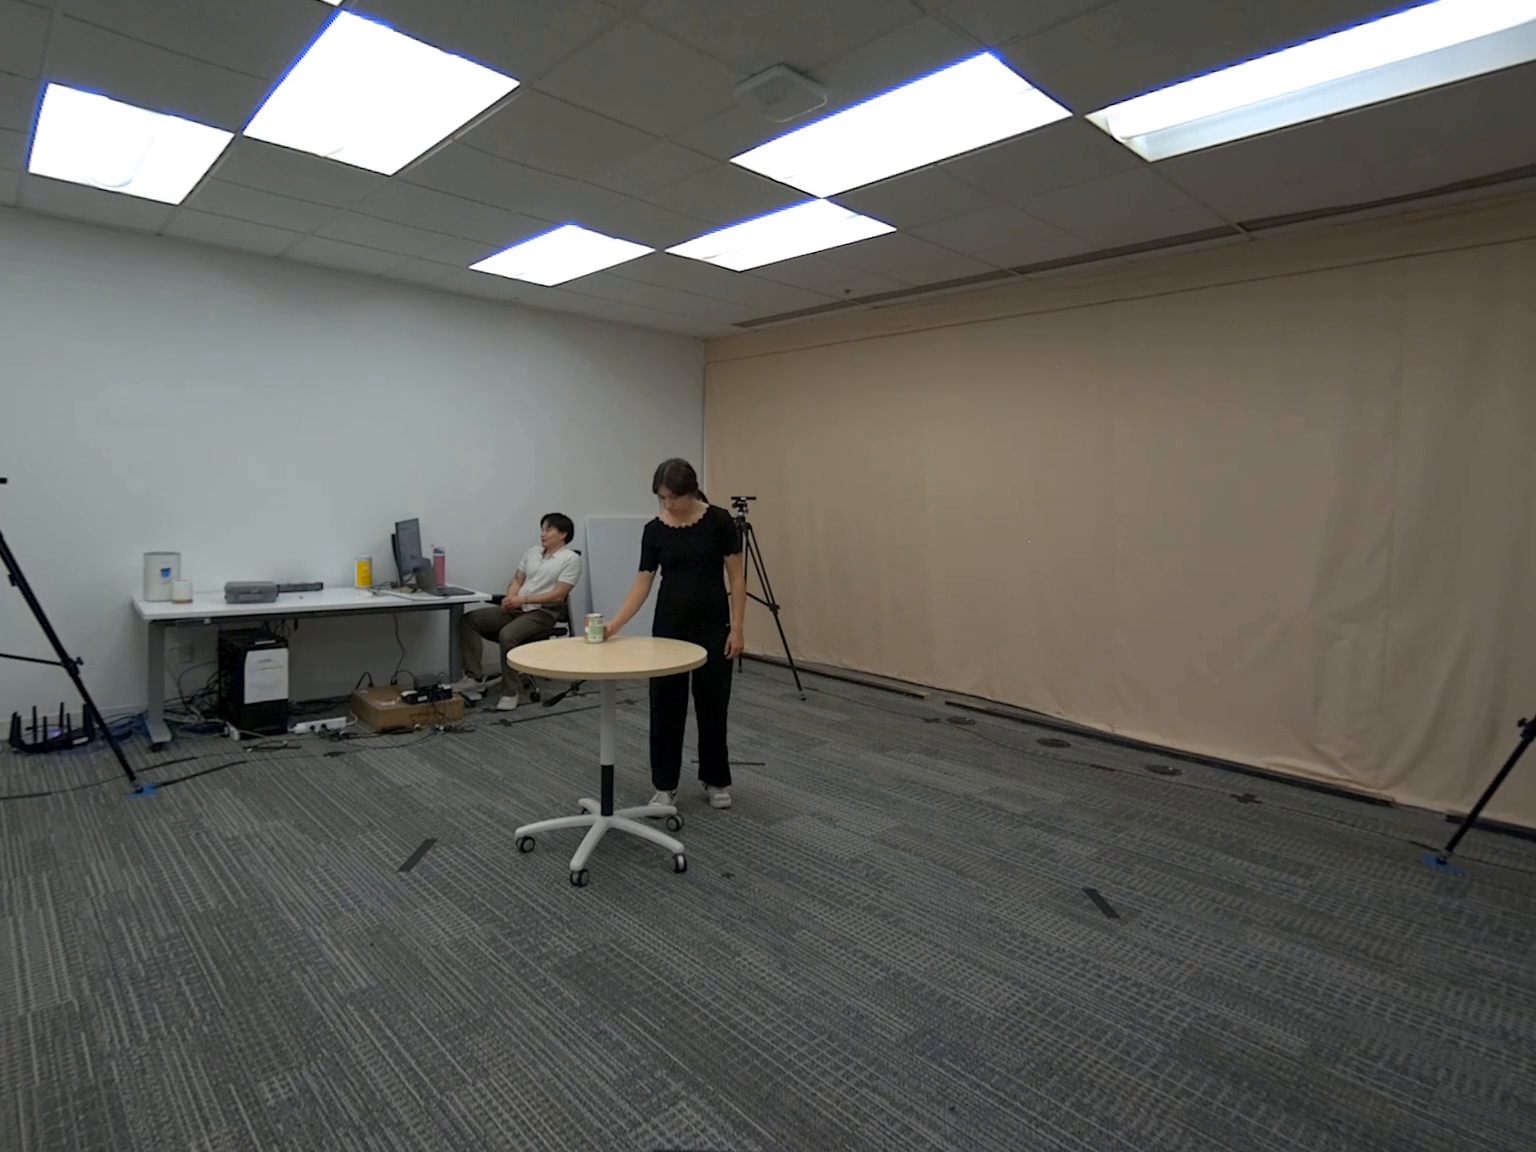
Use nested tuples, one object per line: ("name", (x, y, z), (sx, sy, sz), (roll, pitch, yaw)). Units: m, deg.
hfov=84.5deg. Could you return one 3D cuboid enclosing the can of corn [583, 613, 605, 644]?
("can of corn", (-0.734, 0.220, 3.486), (0.074, 0.111, 0.074), (-3, 0, -1))
